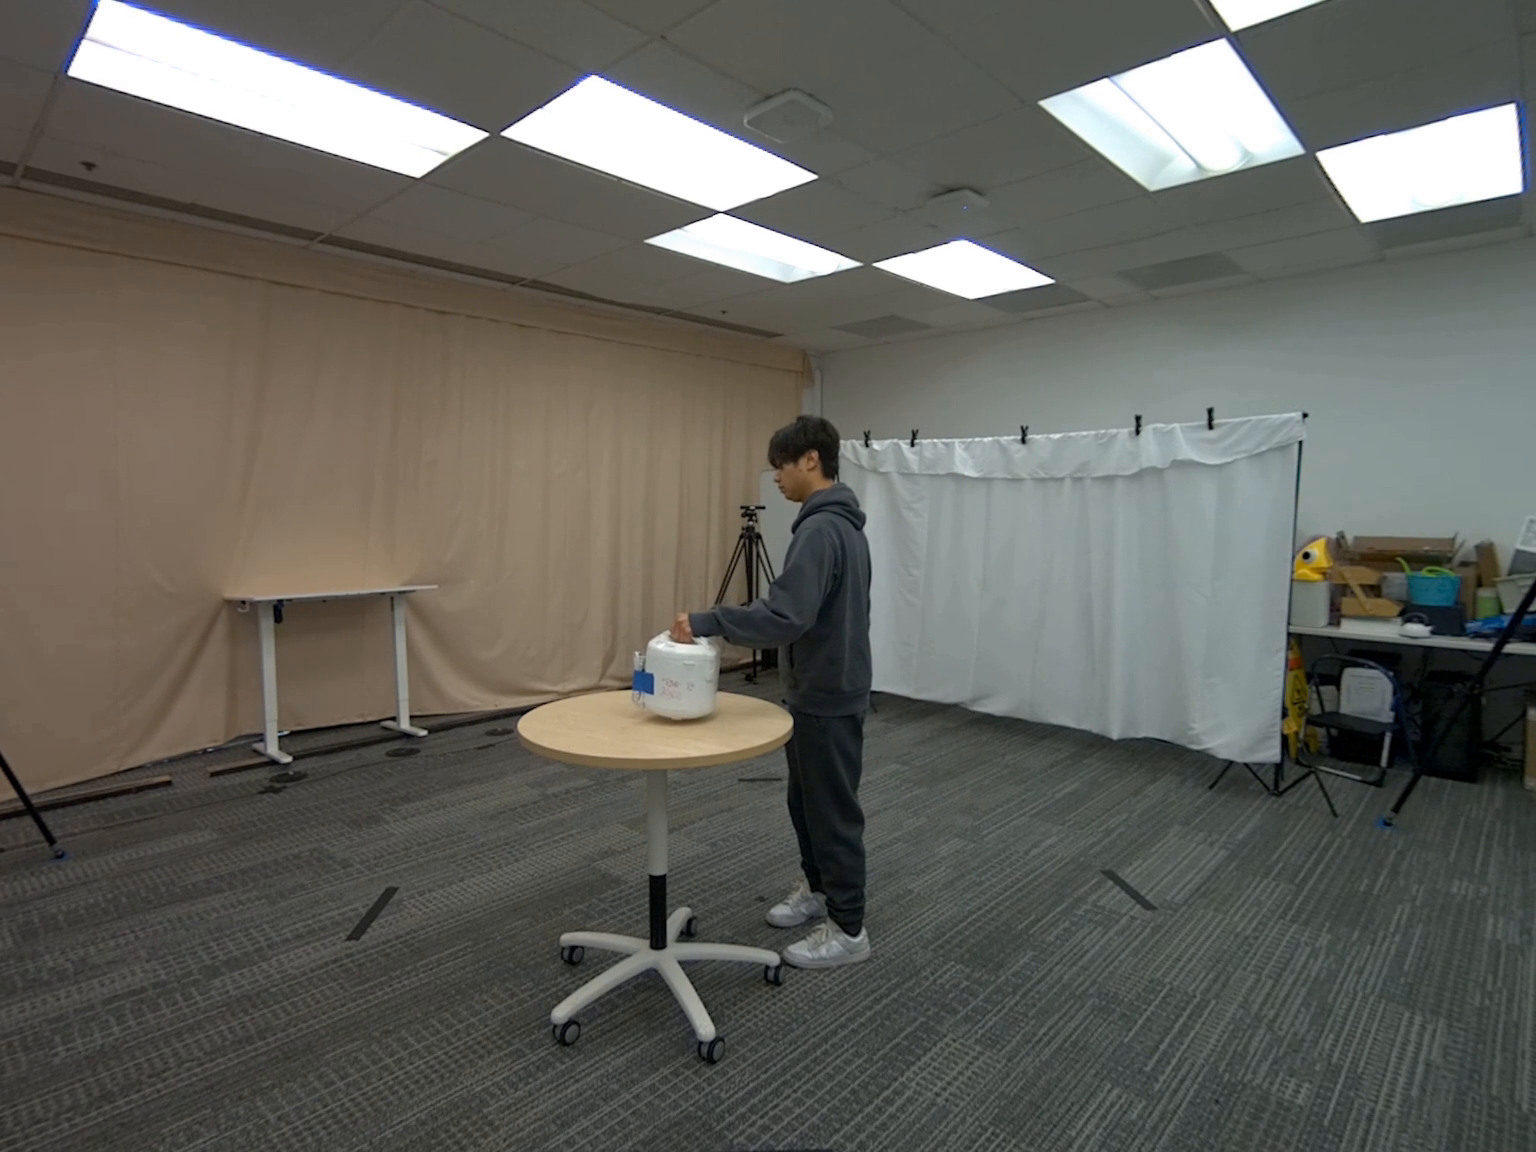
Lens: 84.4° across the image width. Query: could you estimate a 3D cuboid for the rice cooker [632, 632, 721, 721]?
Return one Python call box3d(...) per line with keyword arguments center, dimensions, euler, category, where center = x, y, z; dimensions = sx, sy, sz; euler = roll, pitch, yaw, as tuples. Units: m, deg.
box3d(center=(-0.243, 0.267, 2.373), dimensions=(0.228, 0.232, 0.211), euler=(9, 7, 37), category="rice cooker")
